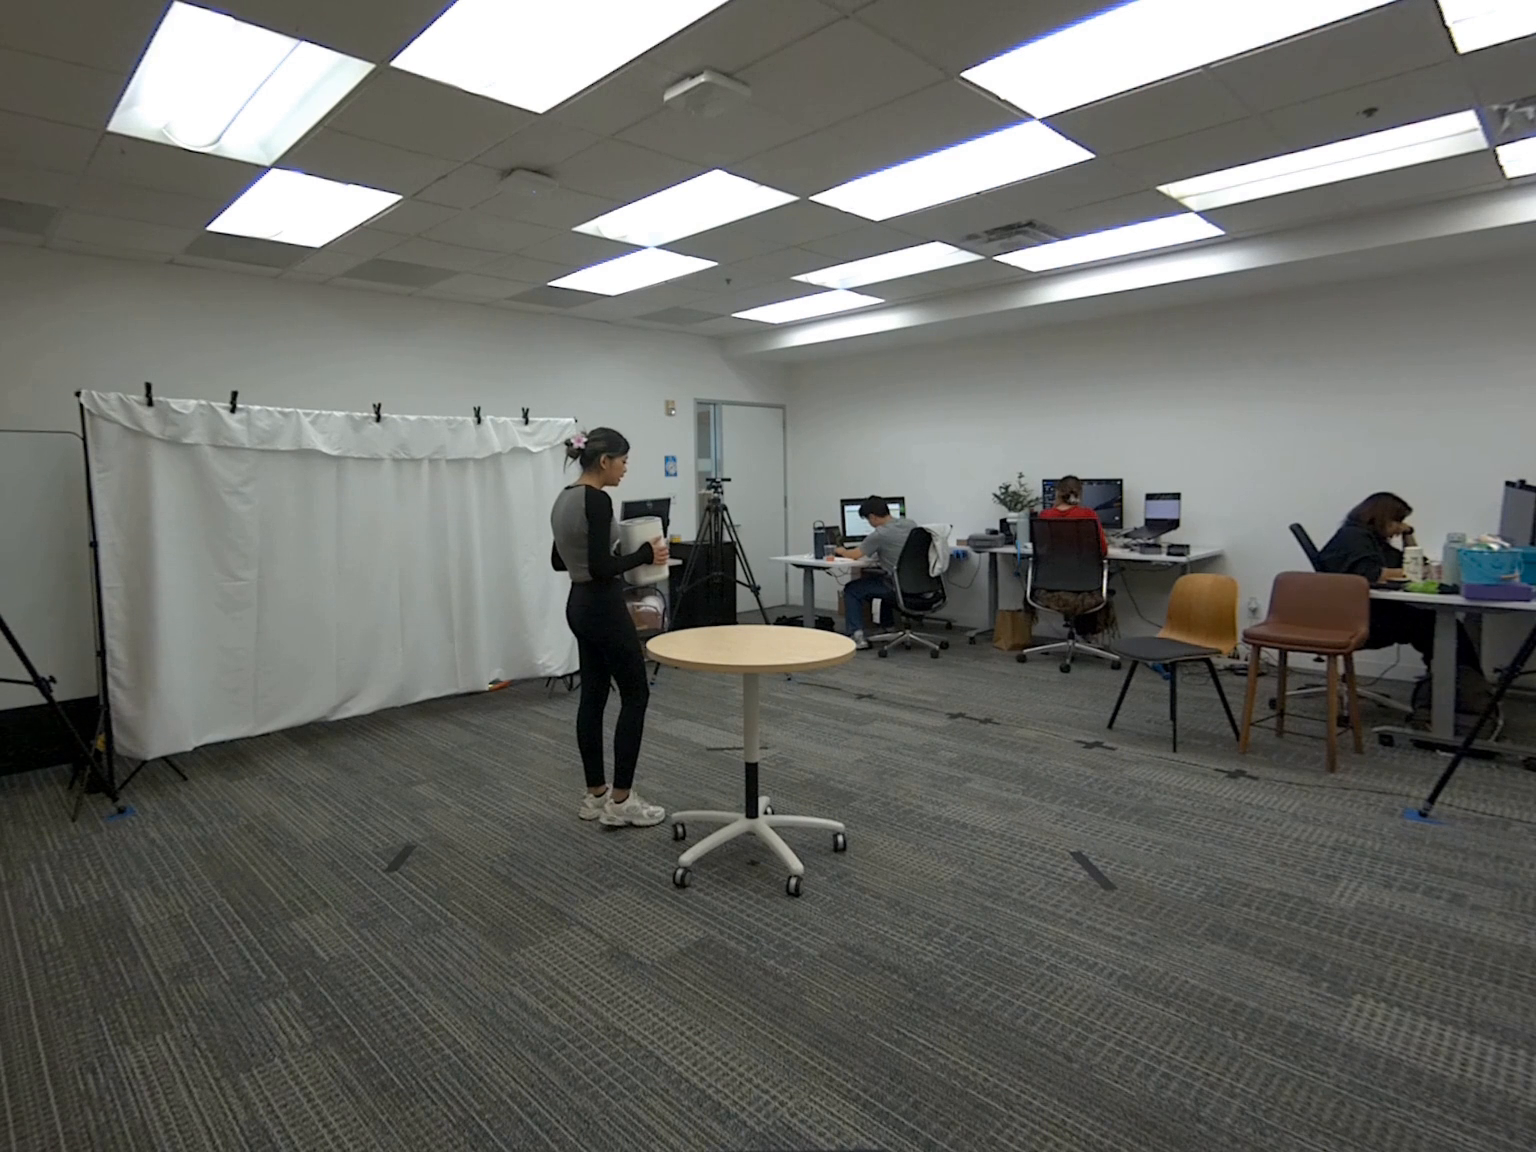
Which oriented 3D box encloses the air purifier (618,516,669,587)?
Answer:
[{"bbox_3d":[-0.539,-0.105,3.652,0.168,0.263,0.176,-13,10,-29],"label":"air purifier"}]
